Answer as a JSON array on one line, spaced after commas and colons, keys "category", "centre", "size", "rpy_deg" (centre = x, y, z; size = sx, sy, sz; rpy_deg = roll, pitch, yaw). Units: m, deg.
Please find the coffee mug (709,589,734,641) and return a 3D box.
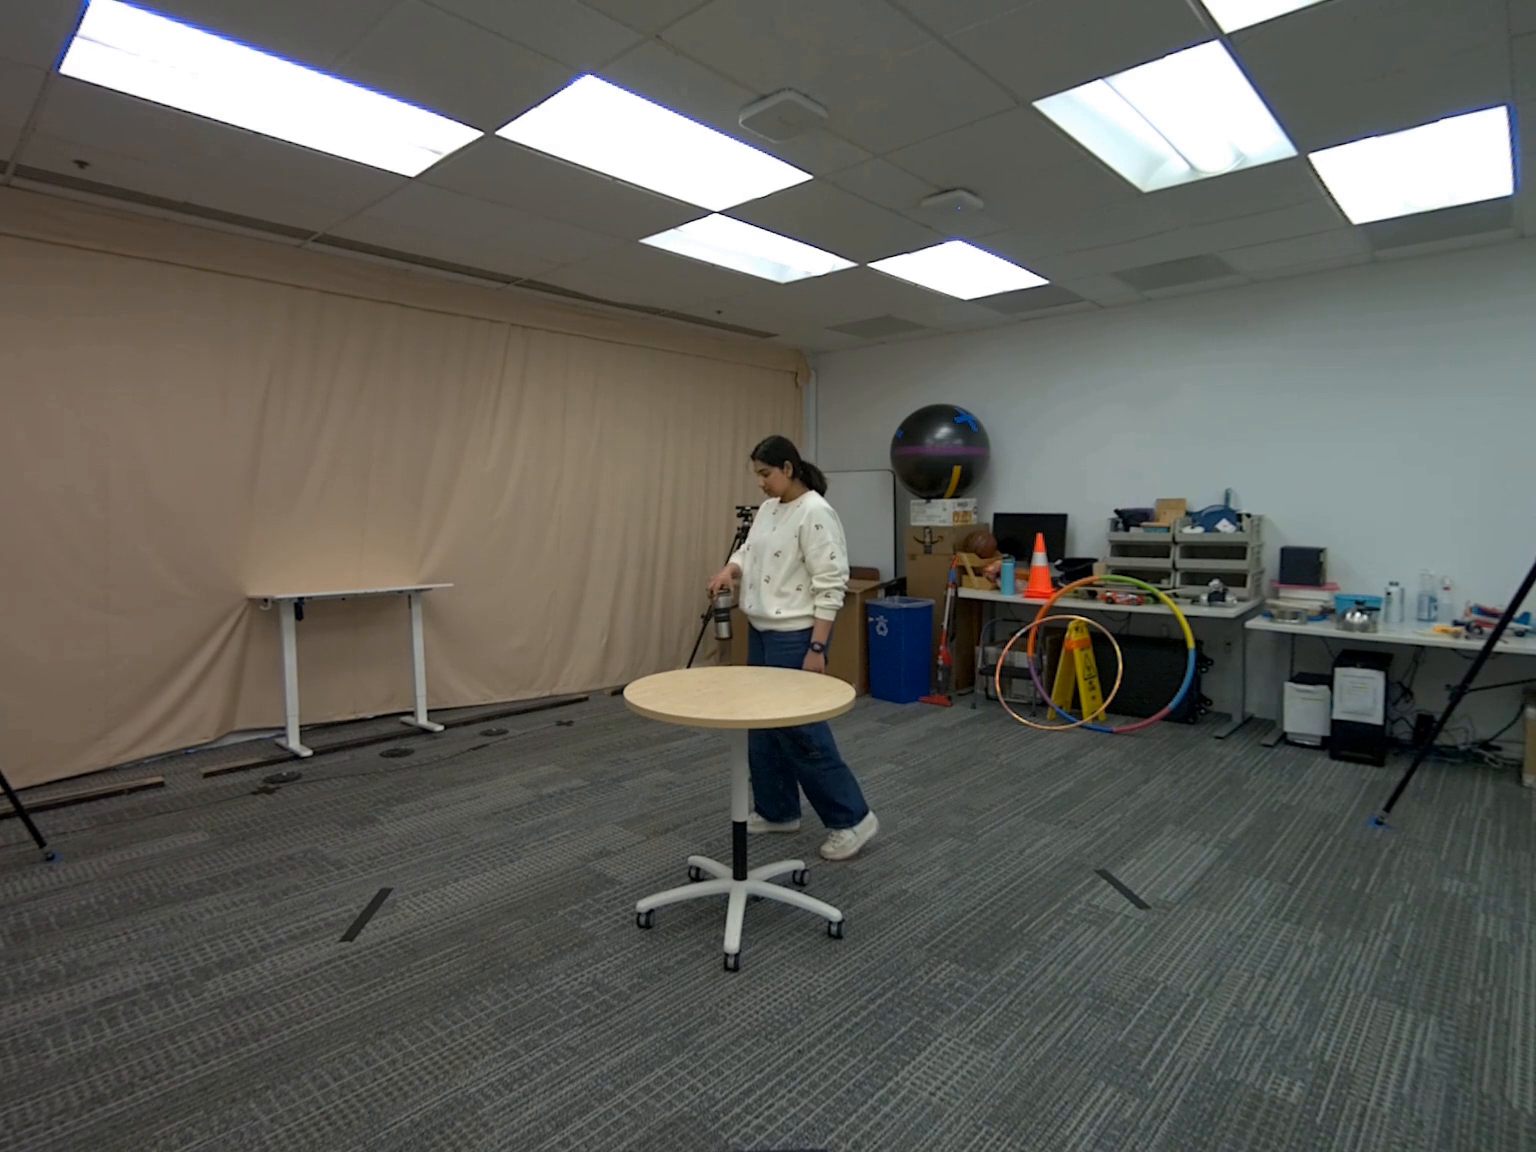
[{"category": "coffee mug", "centre": [-0.160, 0.163, 3.481], "size": [0.118, 0.203, 0.090], "rpy_deg": [-6, -4, -39]}]
